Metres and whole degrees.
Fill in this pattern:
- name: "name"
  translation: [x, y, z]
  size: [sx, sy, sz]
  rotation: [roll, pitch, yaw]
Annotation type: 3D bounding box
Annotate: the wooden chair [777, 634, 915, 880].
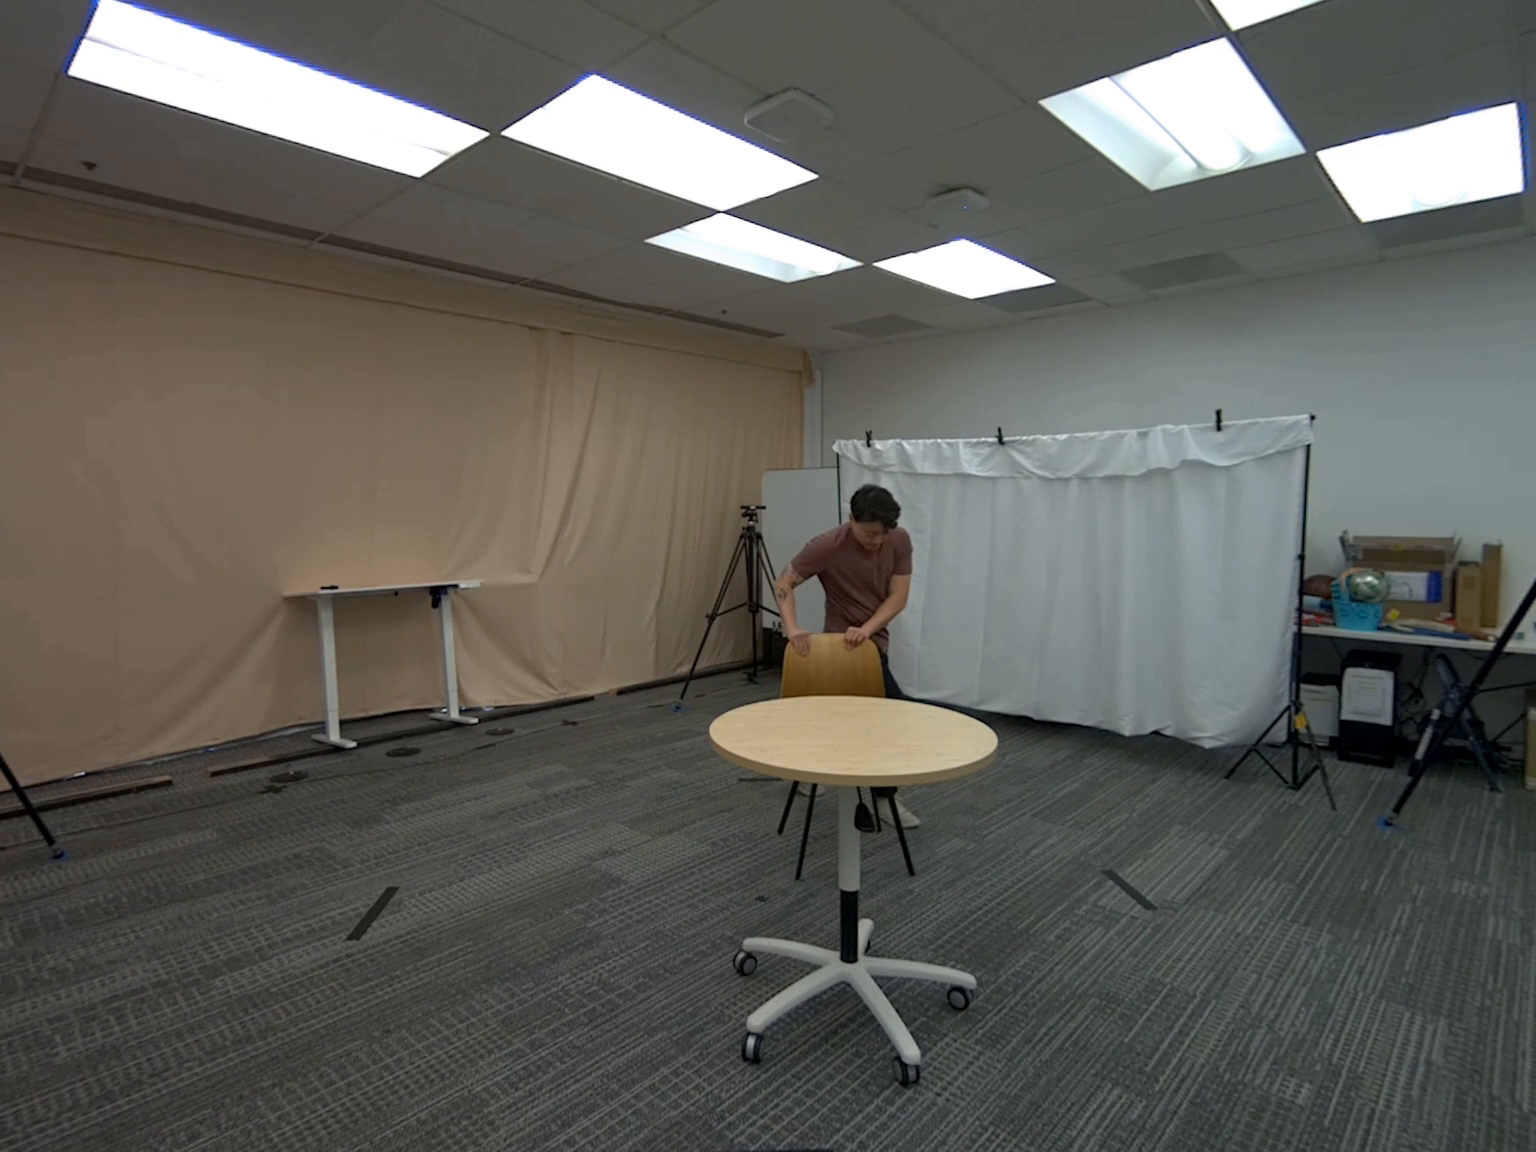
- name: "wooden chair"
  translation: [0.299, 0.684, 3.333]
  size: [0.474, 0.878, 0.527]
  rotation: [0, -1, -8]
